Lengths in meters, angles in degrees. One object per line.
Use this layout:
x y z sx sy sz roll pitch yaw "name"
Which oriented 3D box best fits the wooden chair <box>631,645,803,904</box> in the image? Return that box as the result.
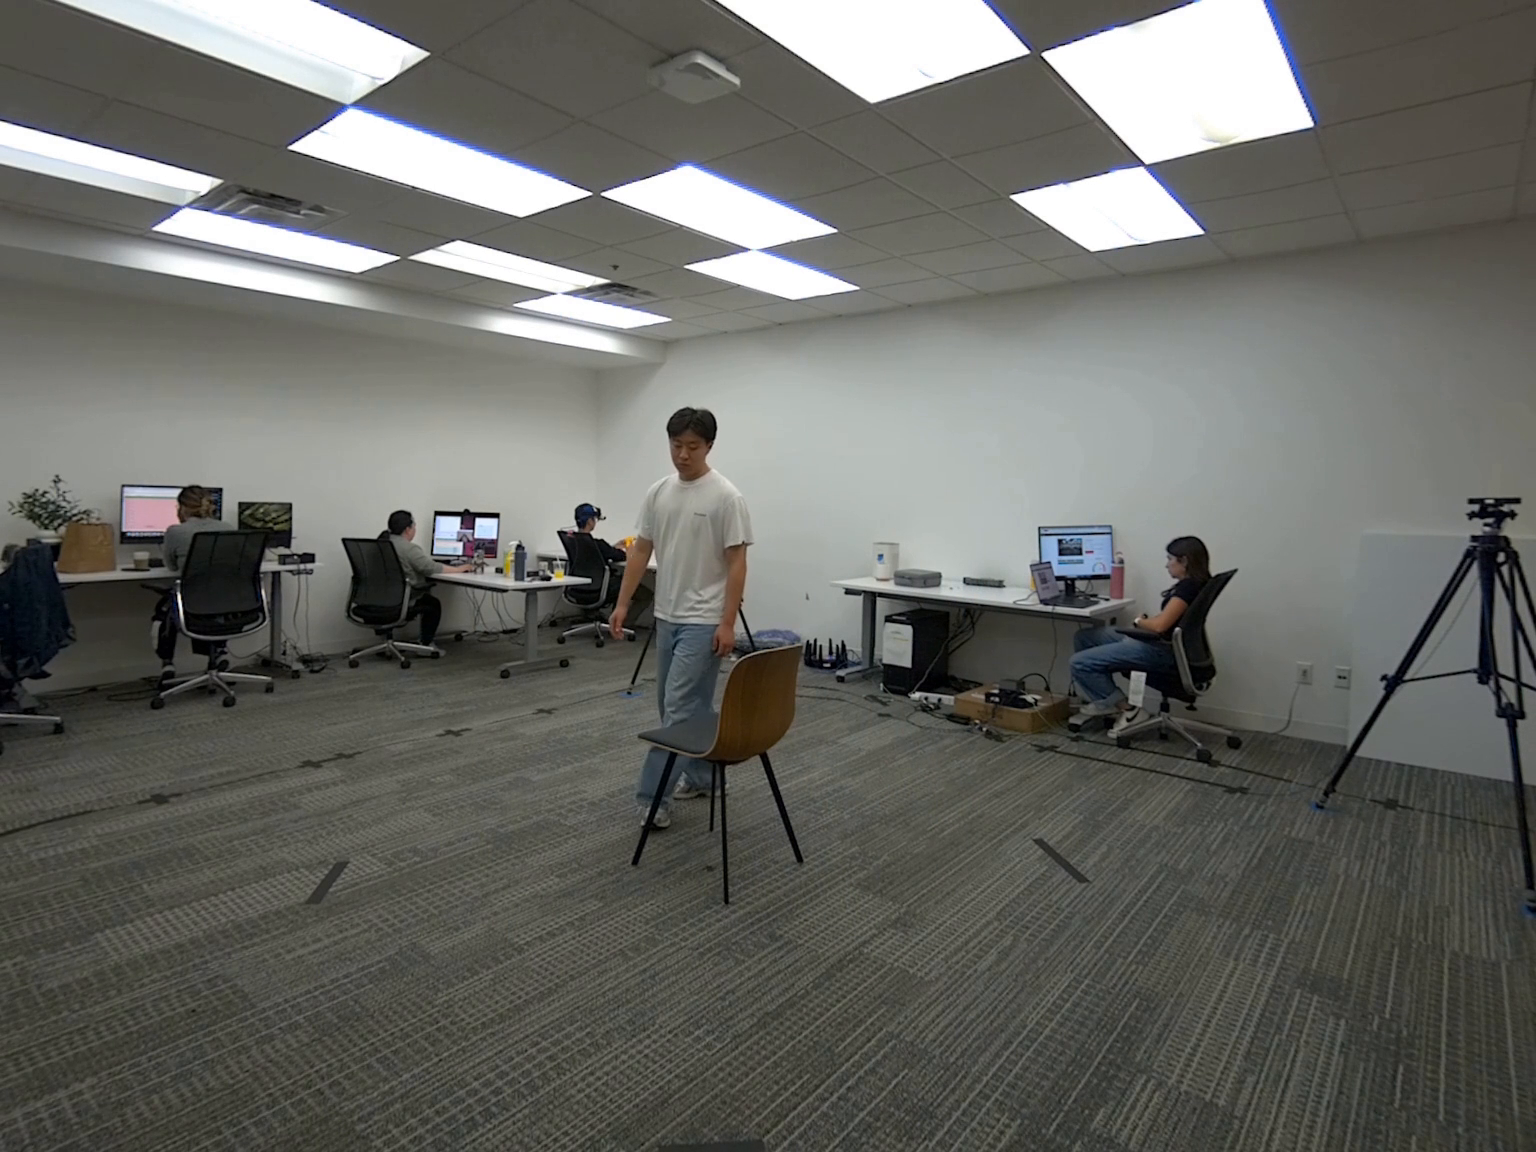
-0.189 0.636 3.127 0.542 0.873 0.464 9 7 37 "wooden chair"
